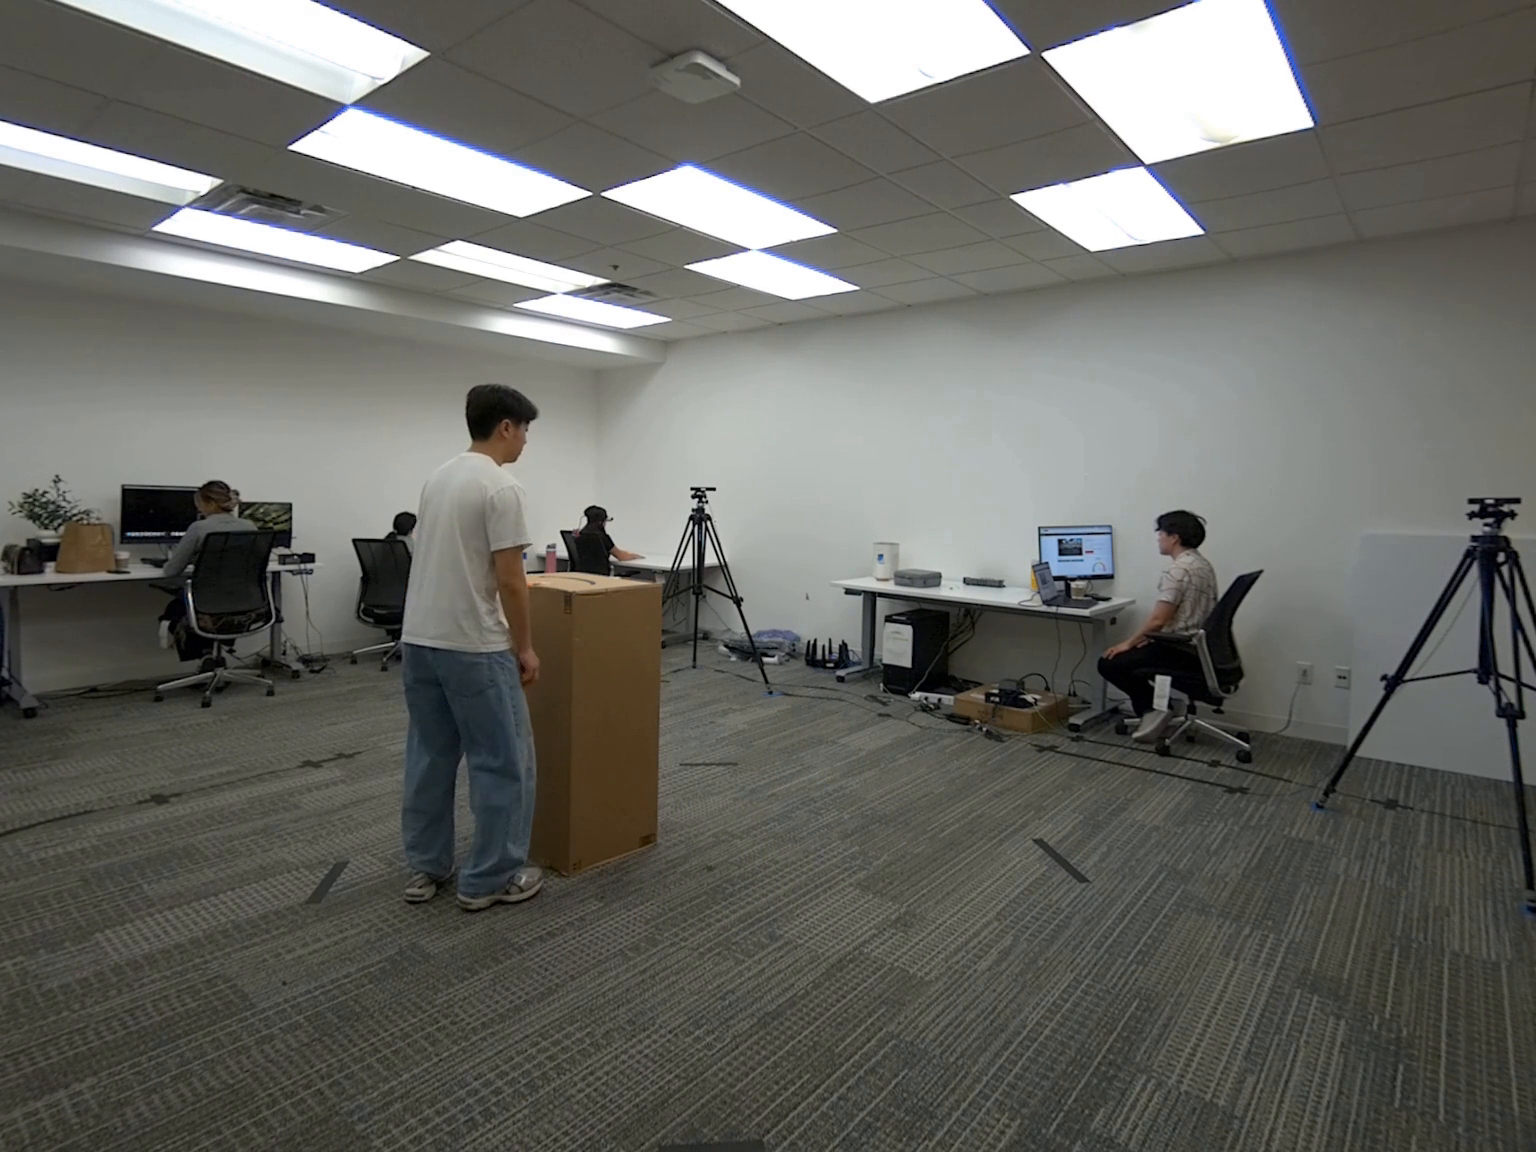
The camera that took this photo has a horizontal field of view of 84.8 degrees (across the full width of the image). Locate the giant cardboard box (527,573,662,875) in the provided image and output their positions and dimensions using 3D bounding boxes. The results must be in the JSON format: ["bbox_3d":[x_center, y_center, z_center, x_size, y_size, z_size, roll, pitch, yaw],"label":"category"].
[{"bbox_3d":[-0.781,0.524,3.332,0.597,1.023,0.413,5,5,44],"label":"giant cardboard box"}]
